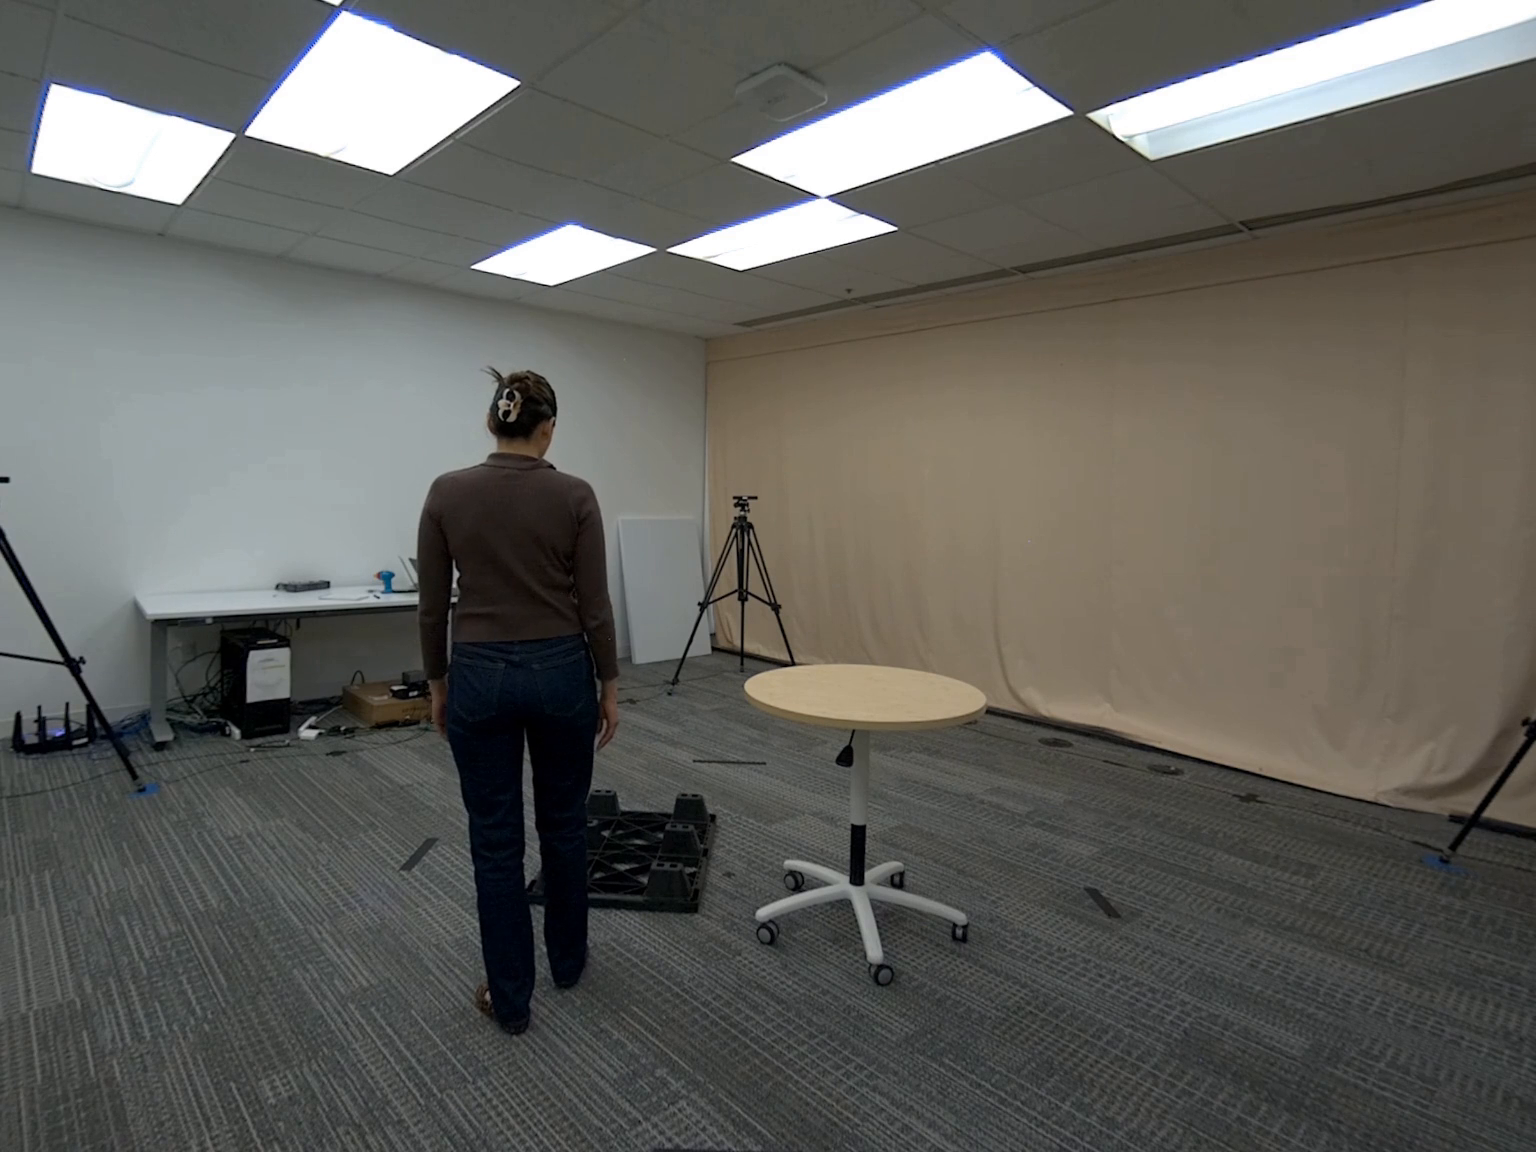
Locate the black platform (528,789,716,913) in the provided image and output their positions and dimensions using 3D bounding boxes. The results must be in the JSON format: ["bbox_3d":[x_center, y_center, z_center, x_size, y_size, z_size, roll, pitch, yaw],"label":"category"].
[{"bbox_3d":[-0.531,1.018,3.222,0.606,0.143,0.806,2,5,1],"label":"black platform"}]
